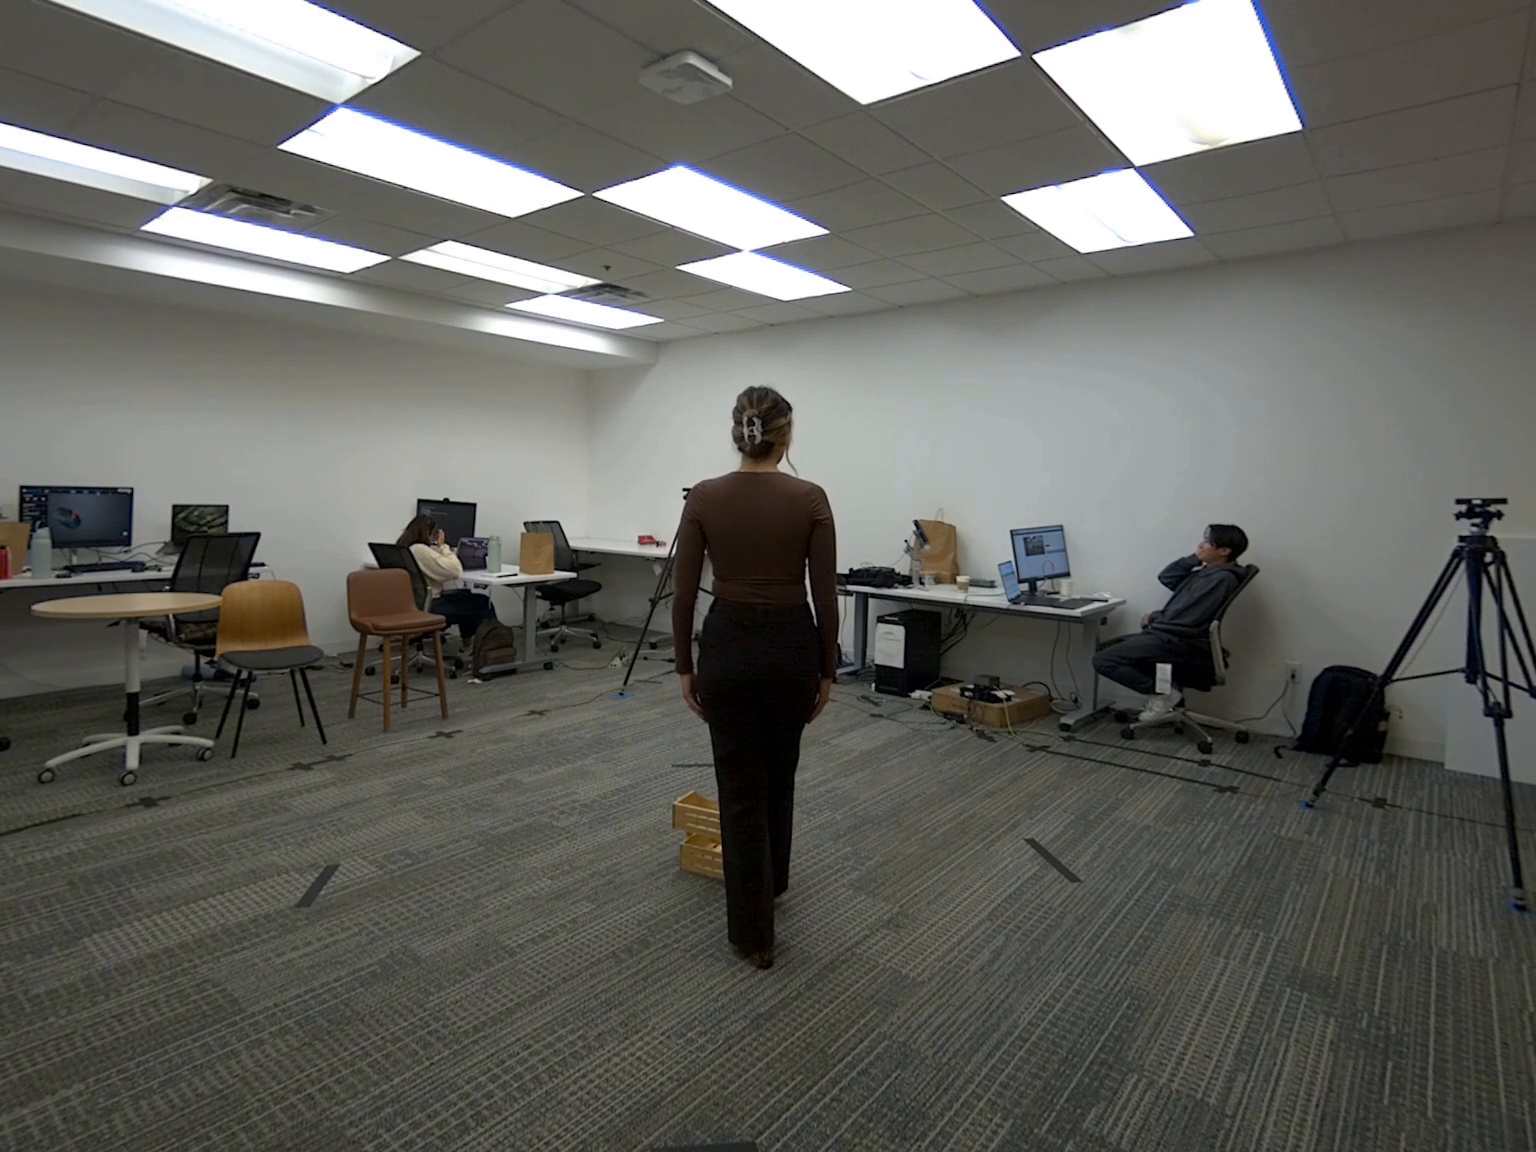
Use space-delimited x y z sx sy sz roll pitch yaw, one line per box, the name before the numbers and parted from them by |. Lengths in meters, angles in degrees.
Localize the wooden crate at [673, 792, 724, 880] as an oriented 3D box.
wooden crate | -0.156 0.935 3.124 0.333 0.272 0.295 3 5 27
